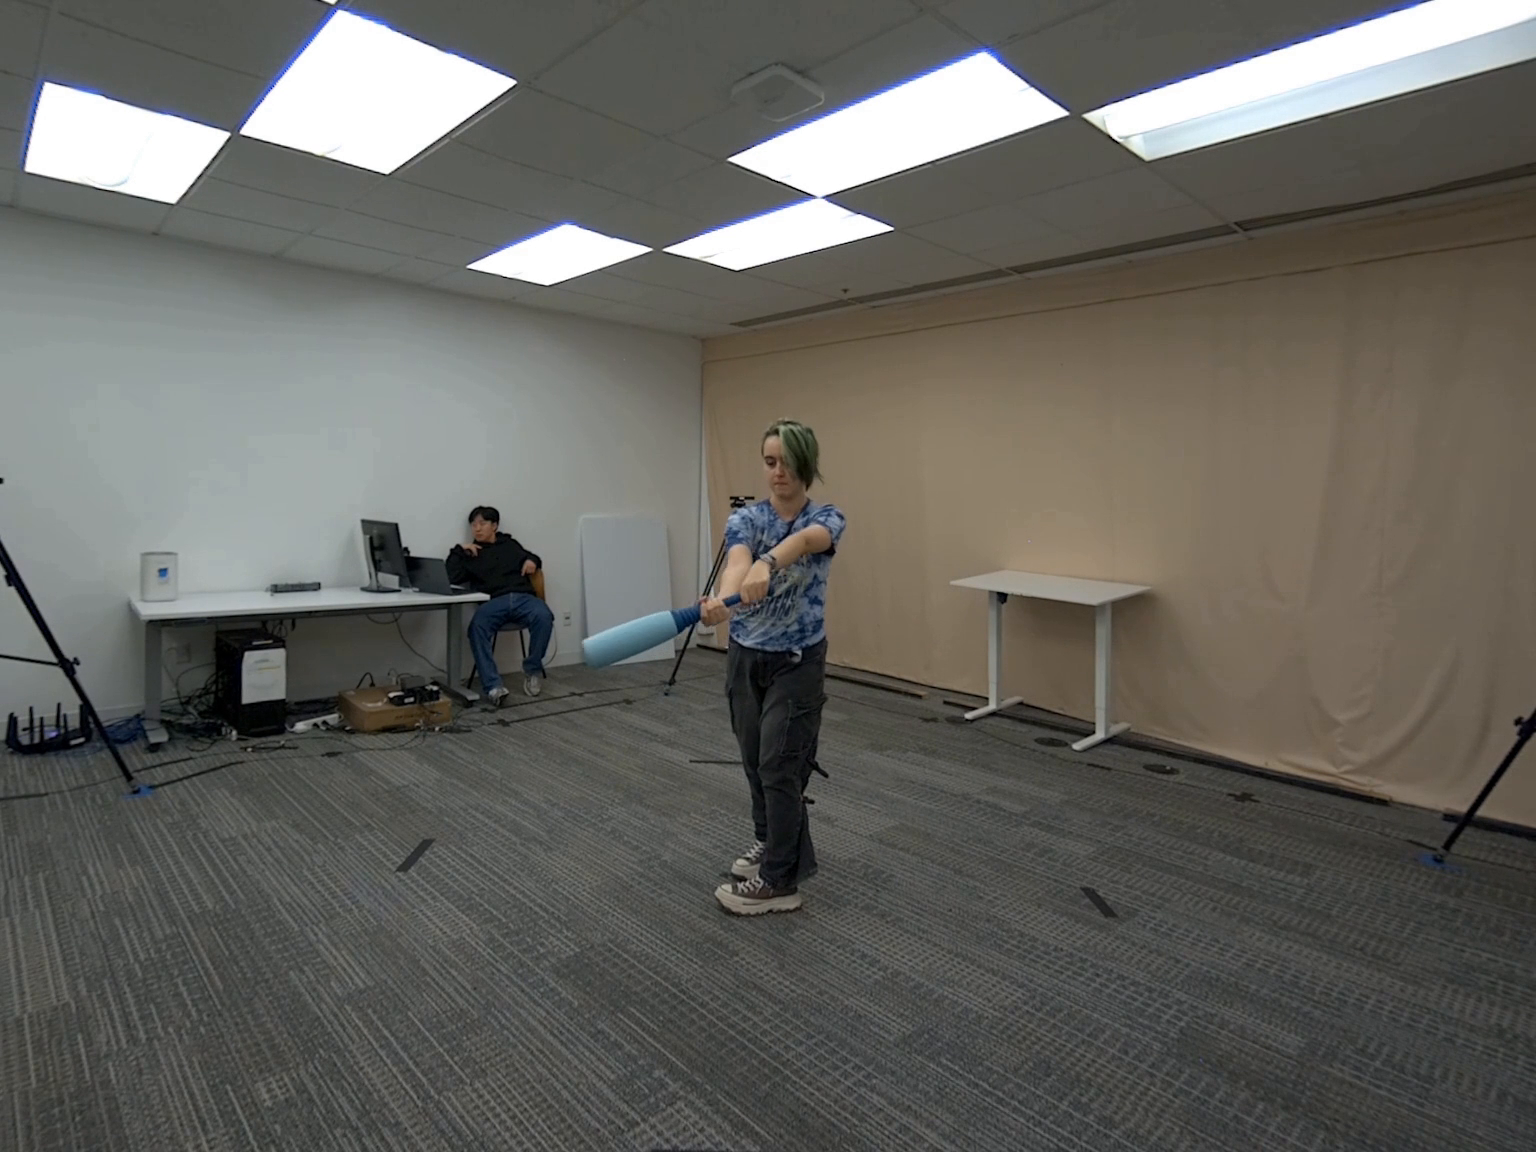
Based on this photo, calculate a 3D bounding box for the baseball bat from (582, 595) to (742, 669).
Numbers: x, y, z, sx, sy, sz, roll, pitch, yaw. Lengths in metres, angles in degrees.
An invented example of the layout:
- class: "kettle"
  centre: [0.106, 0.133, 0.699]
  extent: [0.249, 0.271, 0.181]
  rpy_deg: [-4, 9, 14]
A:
- class: "baseball bat"
  centre: [-0.248, 0.123, 2.262]
  extent: [0.541, 0.088, 0.090]
  rpy_deg: [-19, 7, -5]
